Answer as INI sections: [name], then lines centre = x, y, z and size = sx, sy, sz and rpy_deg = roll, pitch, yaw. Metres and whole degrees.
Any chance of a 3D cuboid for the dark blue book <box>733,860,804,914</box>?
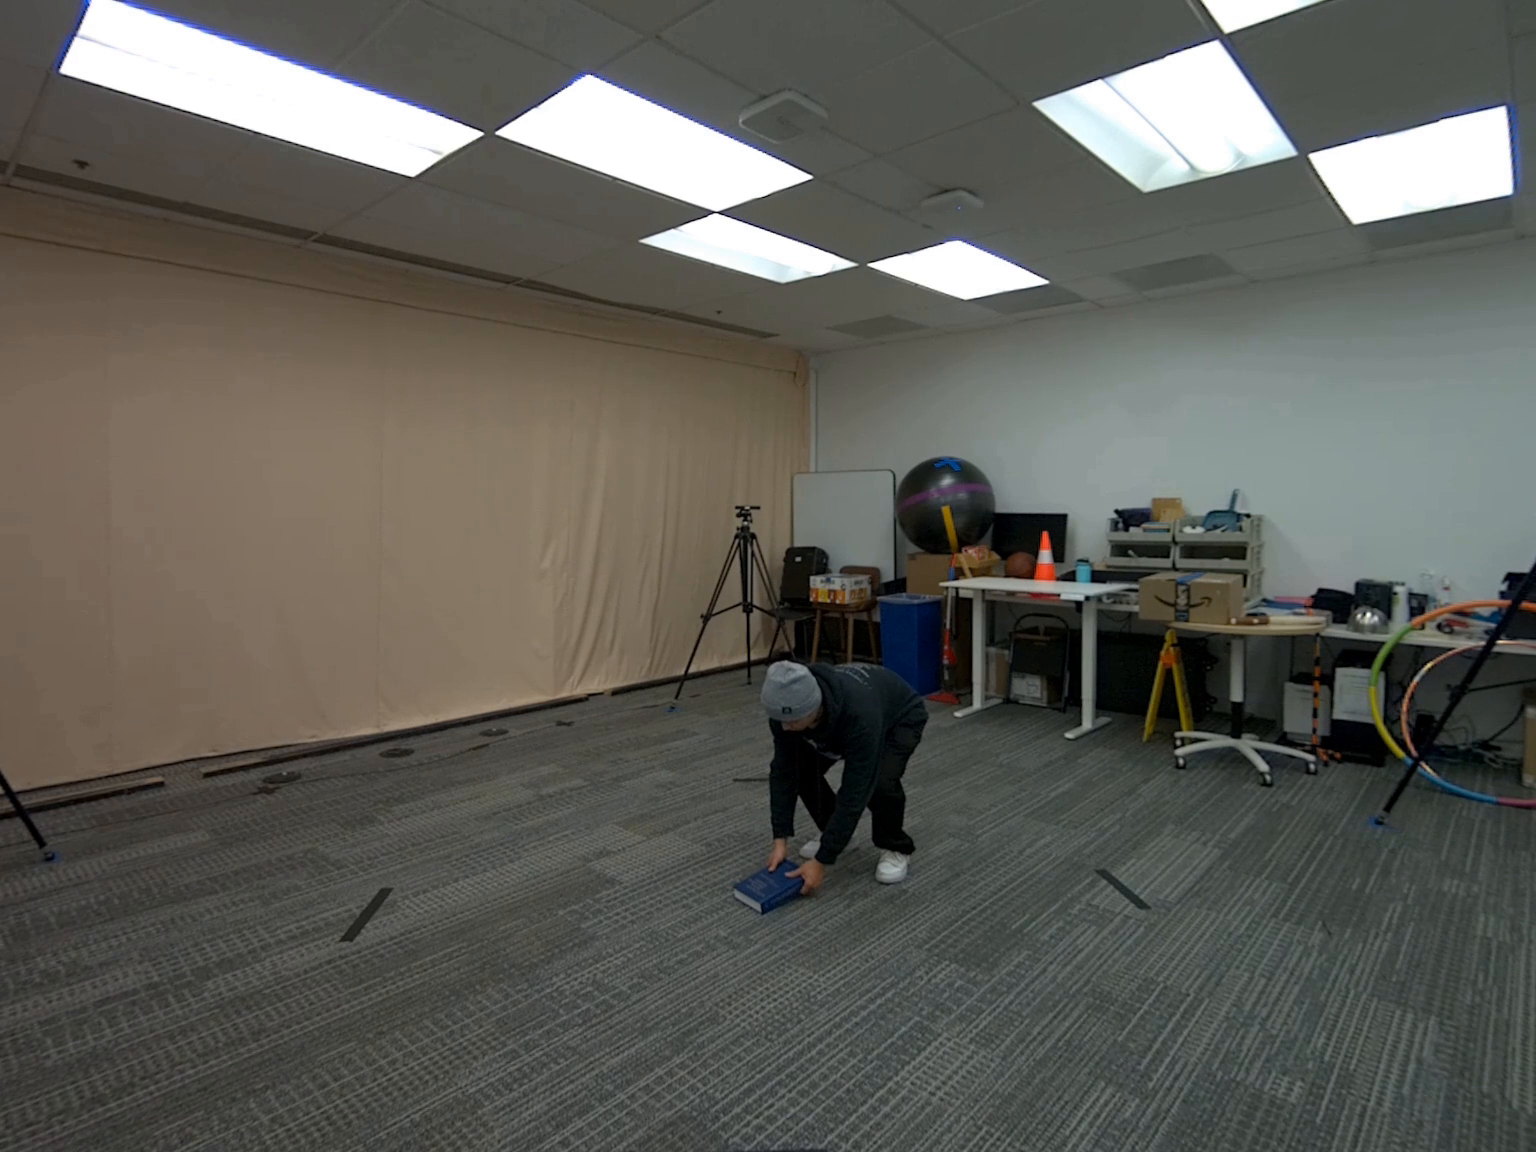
[dark blue book]
centre = 0.020, 1.107, 2.989
size = 0.239, 0.045, 0.168
rpy_deg = -14, 11, -35
